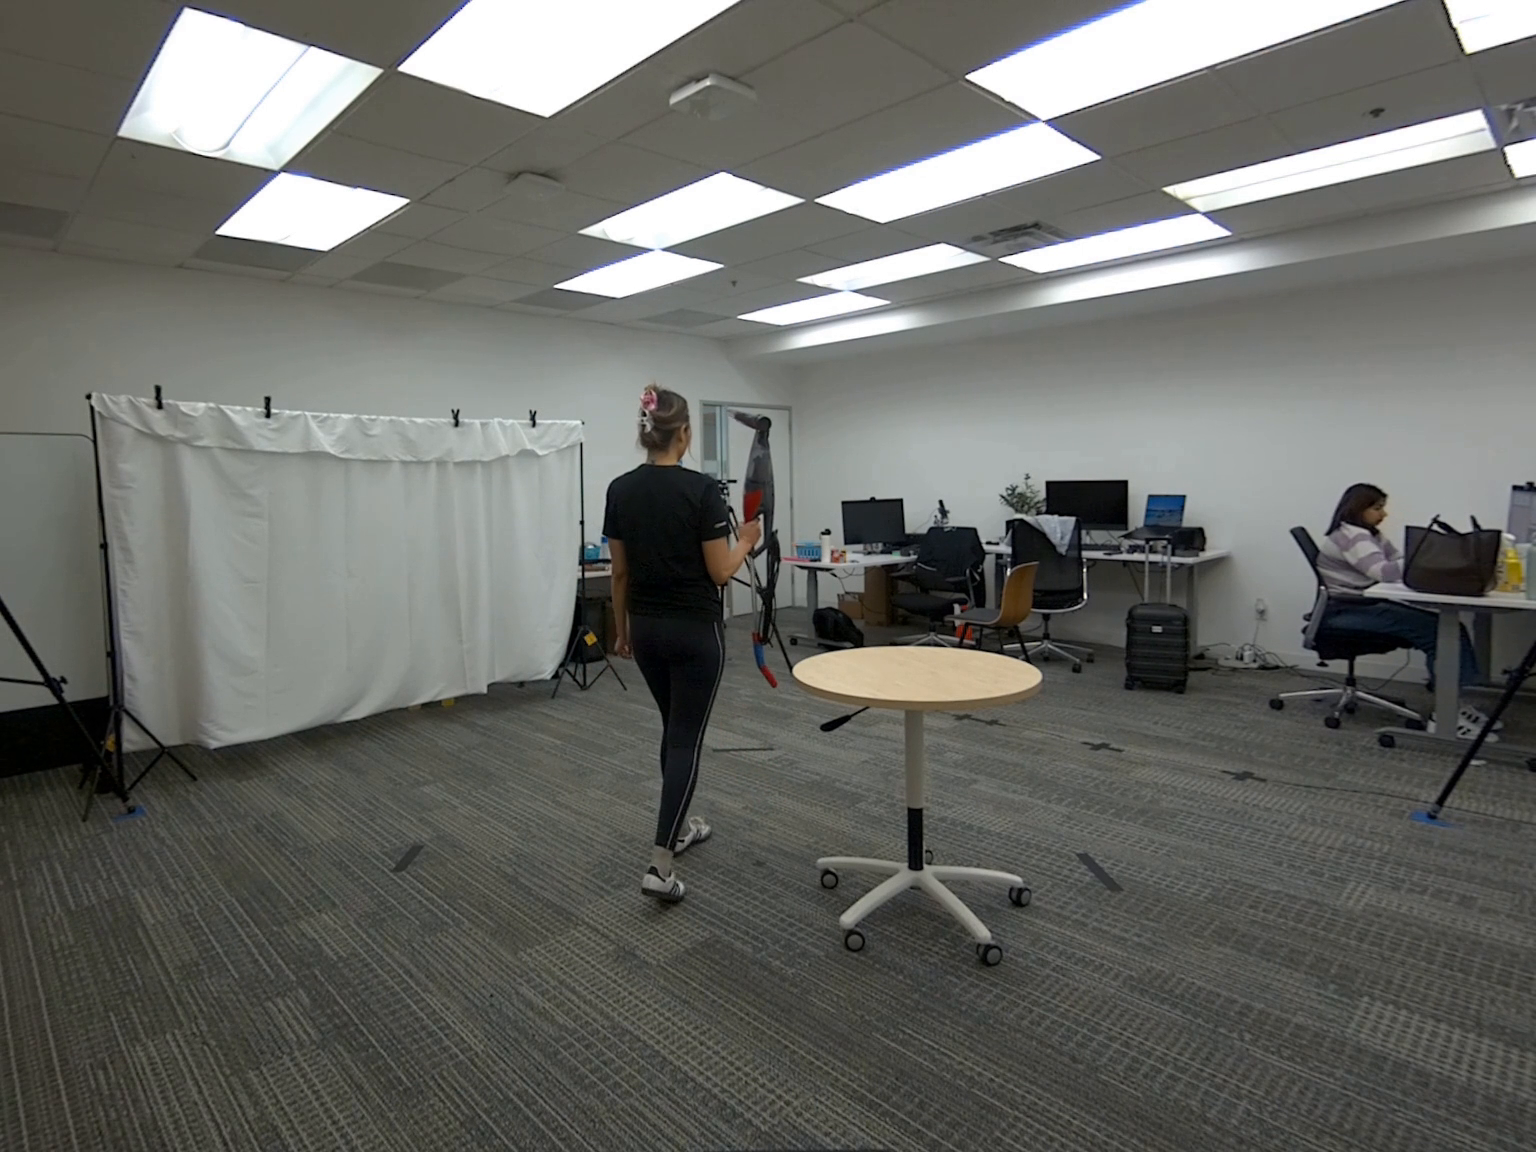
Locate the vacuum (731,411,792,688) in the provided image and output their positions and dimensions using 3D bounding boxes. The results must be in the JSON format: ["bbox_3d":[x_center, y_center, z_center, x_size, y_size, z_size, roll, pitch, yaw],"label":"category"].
[{"bbox_3d":[-0.018,-0.079,3.191,0.142,1.036,0.259,-8,13,-16],"label":"vacuum"}]
